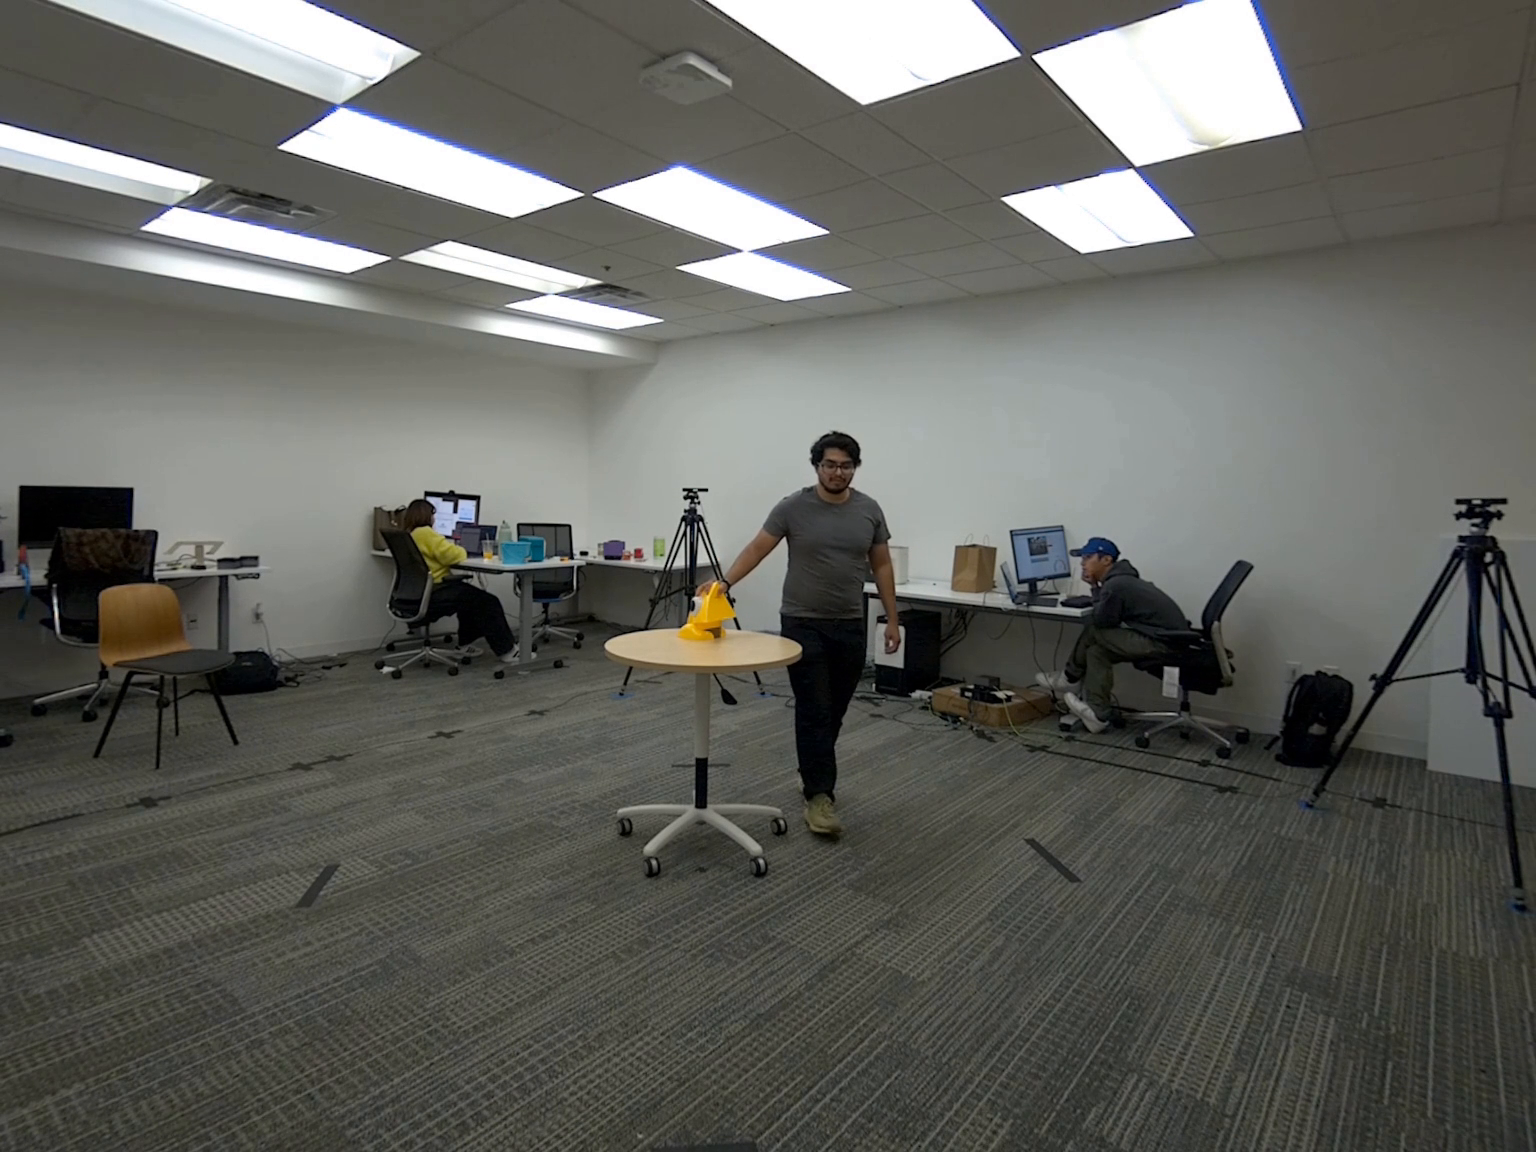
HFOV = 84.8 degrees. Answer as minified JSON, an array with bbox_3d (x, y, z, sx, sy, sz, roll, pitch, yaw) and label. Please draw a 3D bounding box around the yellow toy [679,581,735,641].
[{"bbox_3d":[-0.274,0.134,3.506,0.199,0.230,0.199,4,4,35],"label":"yellow toy"}]
